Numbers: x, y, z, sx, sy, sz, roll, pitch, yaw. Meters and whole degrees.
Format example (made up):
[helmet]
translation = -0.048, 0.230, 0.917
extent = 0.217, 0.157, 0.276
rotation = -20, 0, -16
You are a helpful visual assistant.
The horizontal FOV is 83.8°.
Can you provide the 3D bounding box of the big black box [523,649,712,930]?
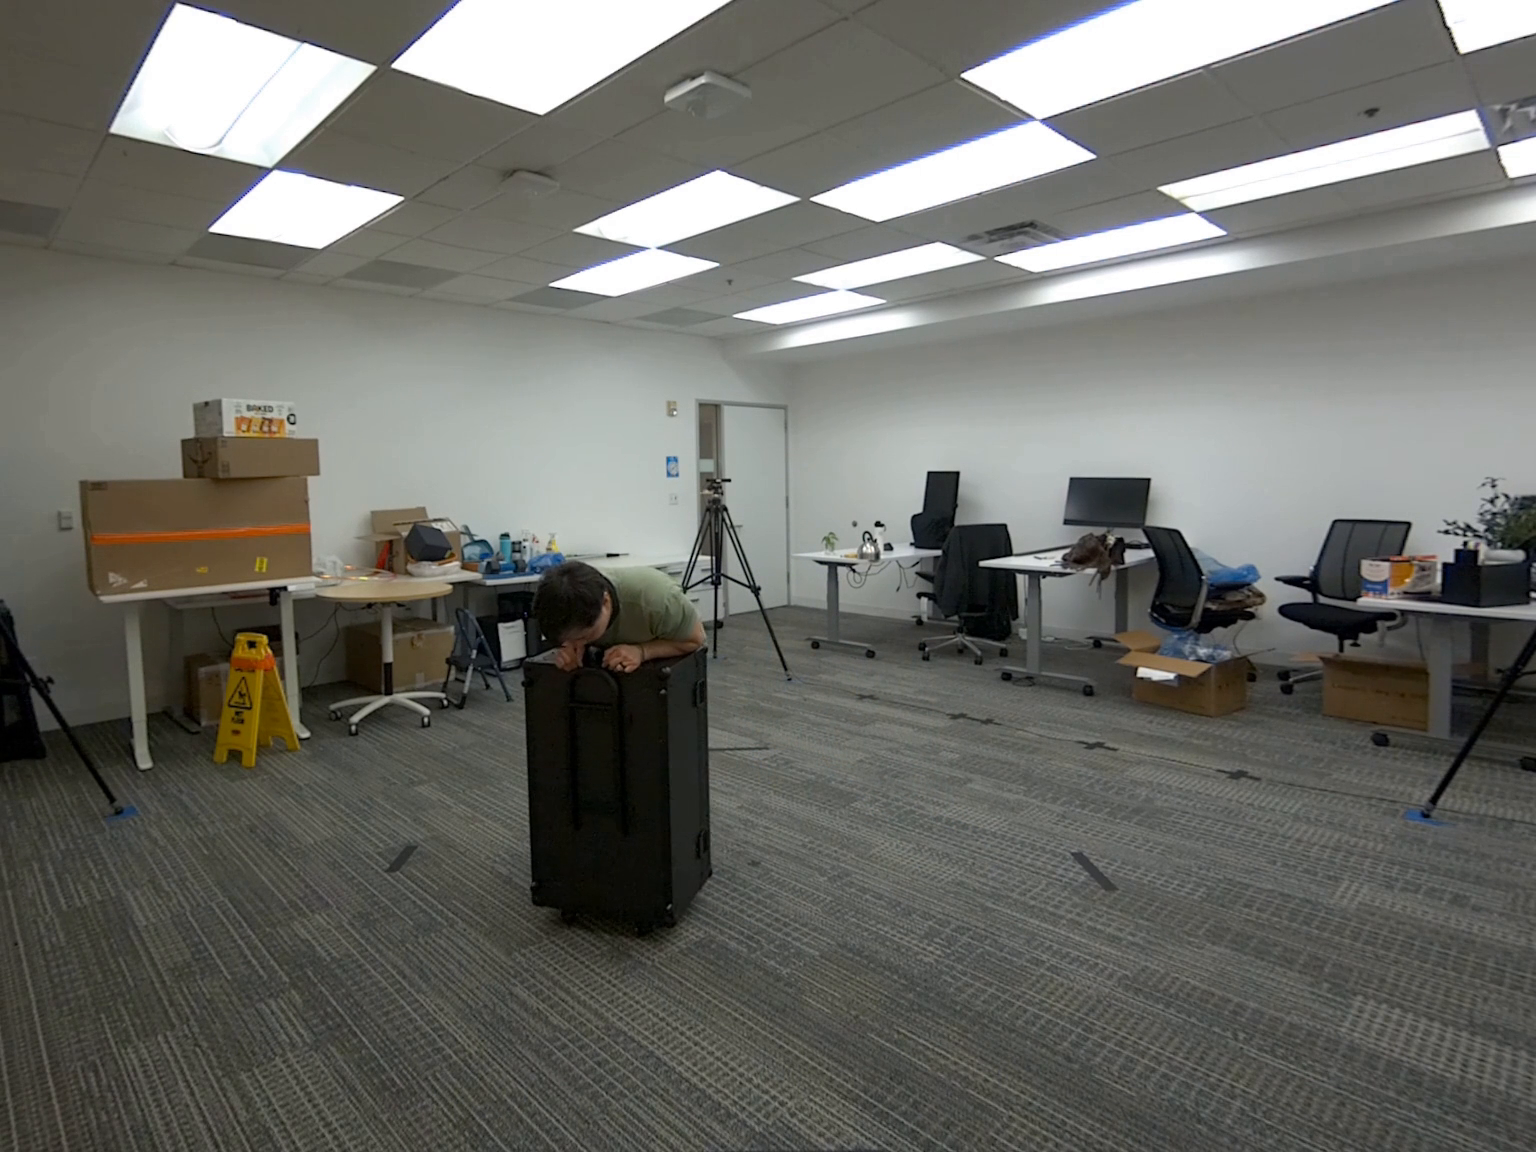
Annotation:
[big black box]
translation = -0.468, 0.673, 2.744
extent = 0.530, 0.857, 0.392
rotation = 0, 6, 17
